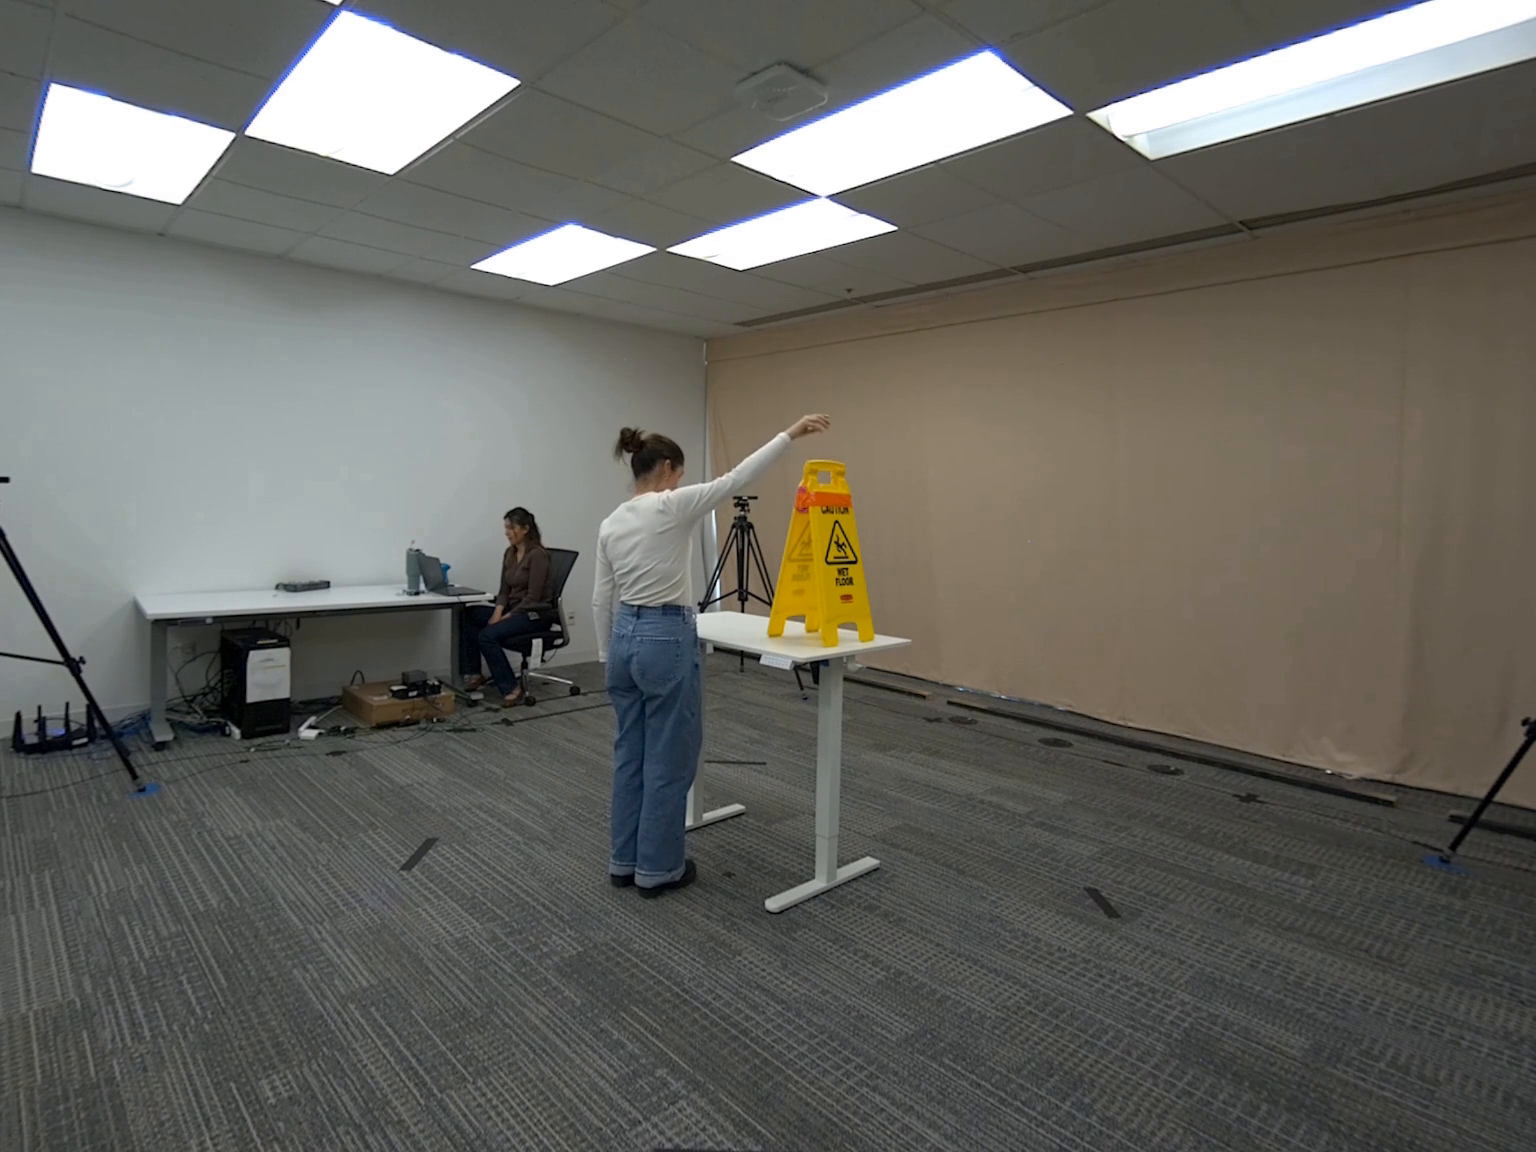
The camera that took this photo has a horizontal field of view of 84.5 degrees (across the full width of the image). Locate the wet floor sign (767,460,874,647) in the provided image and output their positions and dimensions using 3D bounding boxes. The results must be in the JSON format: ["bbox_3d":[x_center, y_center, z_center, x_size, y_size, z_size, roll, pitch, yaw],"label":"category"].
[{"bbox_3d":[0.195,-0.090,3.055,0.276,0.644,0.297,-1,5,-44],"label":"wet floor sign"}]
